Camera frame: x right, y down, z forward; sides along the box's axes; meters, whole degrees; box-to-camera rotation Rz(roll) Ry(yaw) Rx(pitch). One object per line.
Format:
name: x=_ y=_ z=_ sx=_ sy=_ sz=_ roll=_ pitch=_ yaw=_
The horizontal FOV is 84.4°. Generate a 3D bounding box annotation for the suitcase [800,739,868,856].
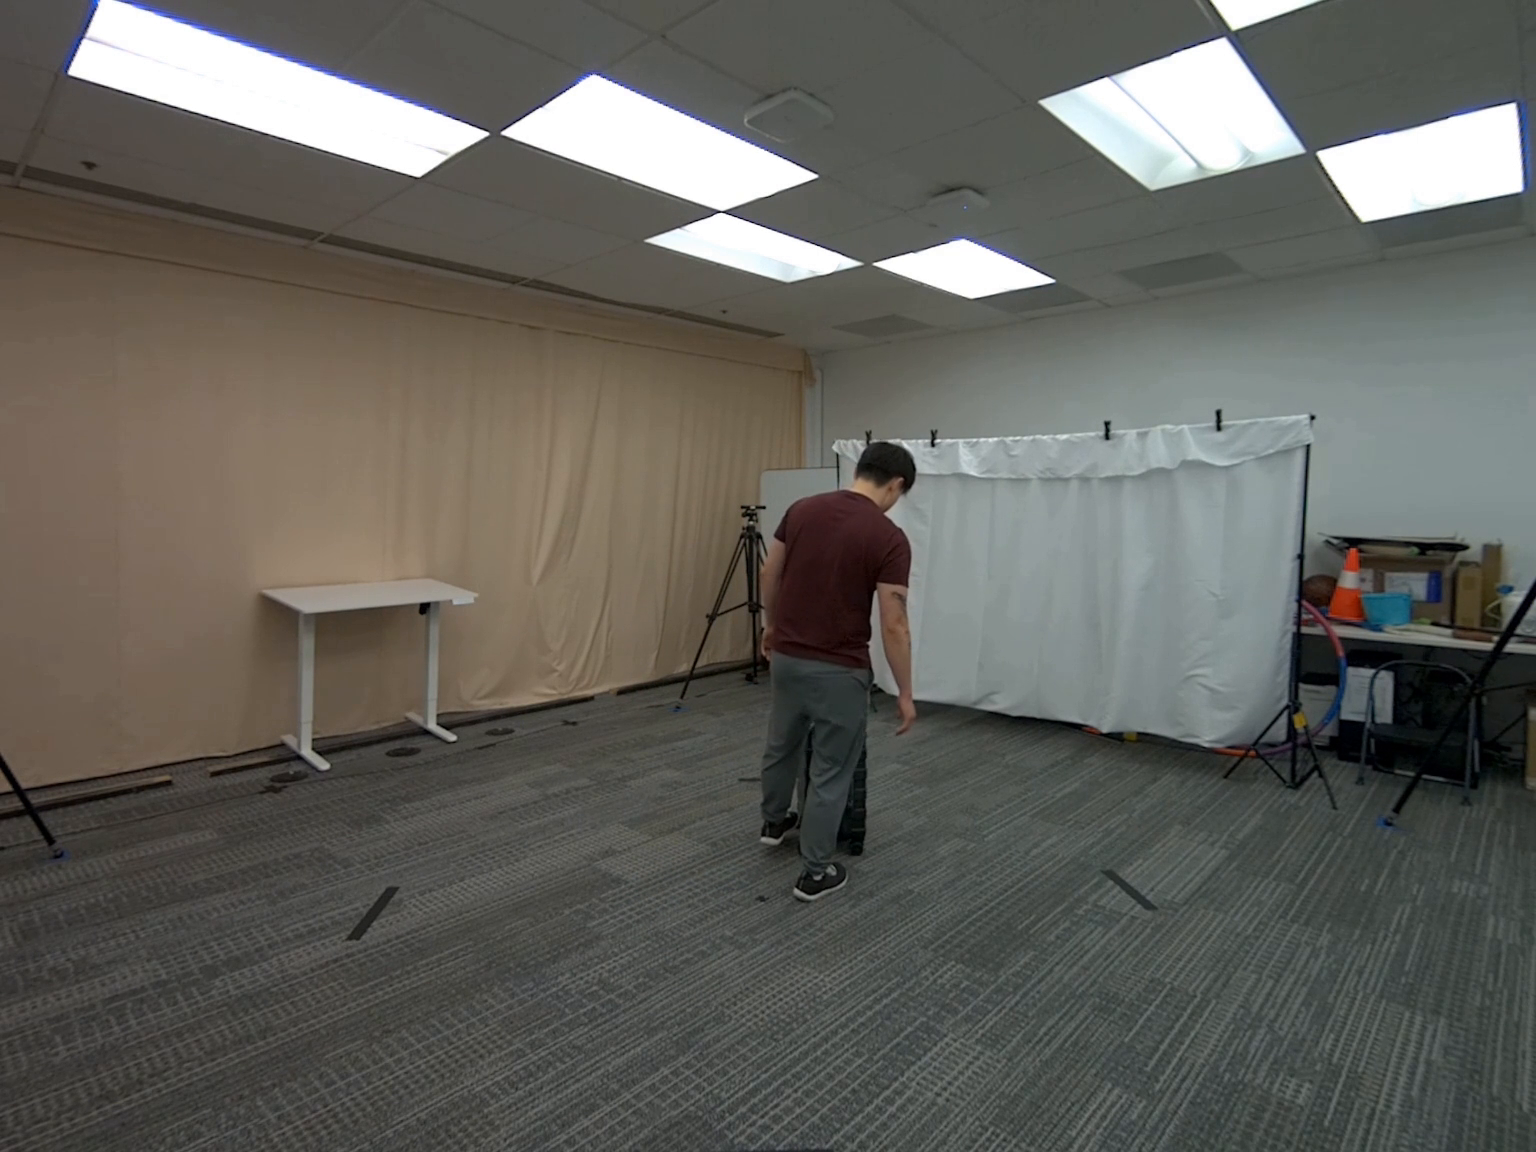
suitcase: x=0.266 y=0.629 z=3.488 sx=0.256 sy=0.977 sz=0.385 roll=0 pitch=2 yaw=-4
